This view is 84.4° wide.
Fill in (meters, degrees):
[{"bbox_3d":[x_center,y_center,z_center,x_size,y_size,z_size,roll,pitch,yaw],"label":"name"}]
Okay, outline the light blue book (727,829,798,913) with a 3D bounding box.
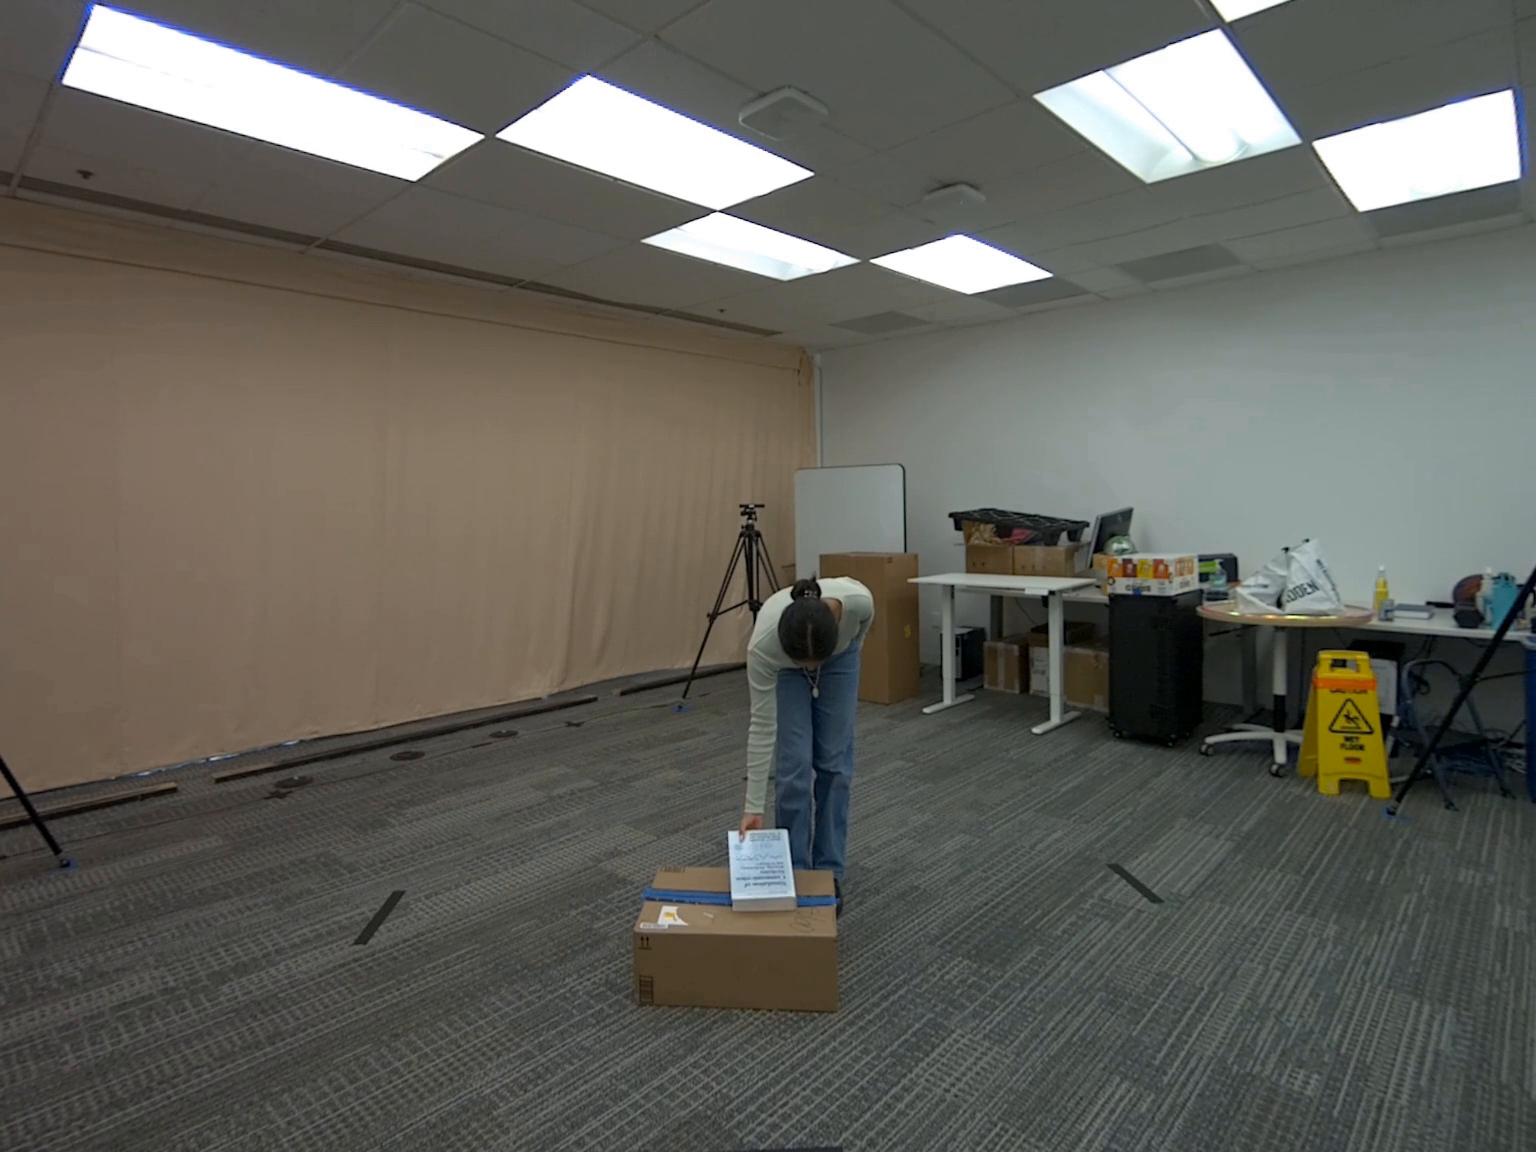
[{"bbox_3d":[-0.015,0.884,2.559,0.191,0.058,0.265,-2,28,-2],"label":"light blue book"}]
